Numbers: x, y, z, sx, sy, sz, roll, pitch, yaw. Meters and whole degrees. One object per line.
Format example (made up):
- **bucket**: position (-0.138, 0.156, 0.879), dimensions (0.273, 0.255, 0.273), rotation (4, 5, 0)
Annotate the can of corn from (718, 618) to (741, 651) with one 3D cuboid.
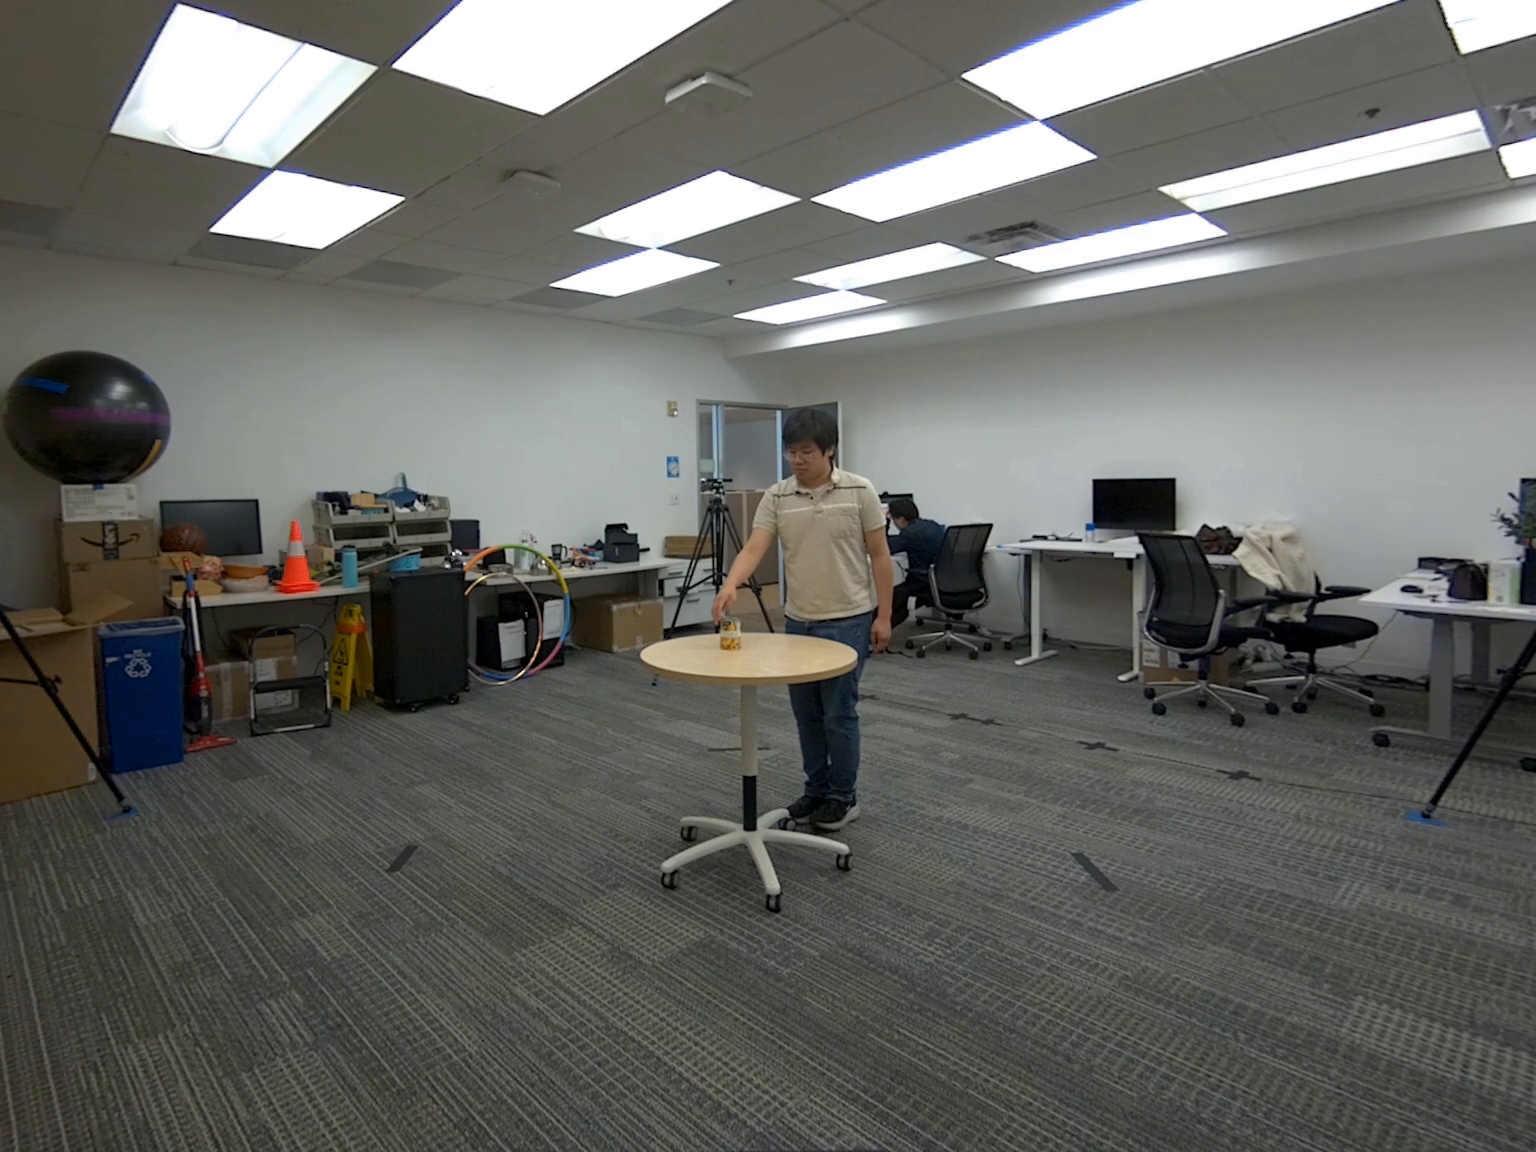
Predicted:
- **can of corn**: position (-0.135, 0.208, 3.101), dimensions (0.074, 0.111, 0.074), rotation (0, -2, -2)
